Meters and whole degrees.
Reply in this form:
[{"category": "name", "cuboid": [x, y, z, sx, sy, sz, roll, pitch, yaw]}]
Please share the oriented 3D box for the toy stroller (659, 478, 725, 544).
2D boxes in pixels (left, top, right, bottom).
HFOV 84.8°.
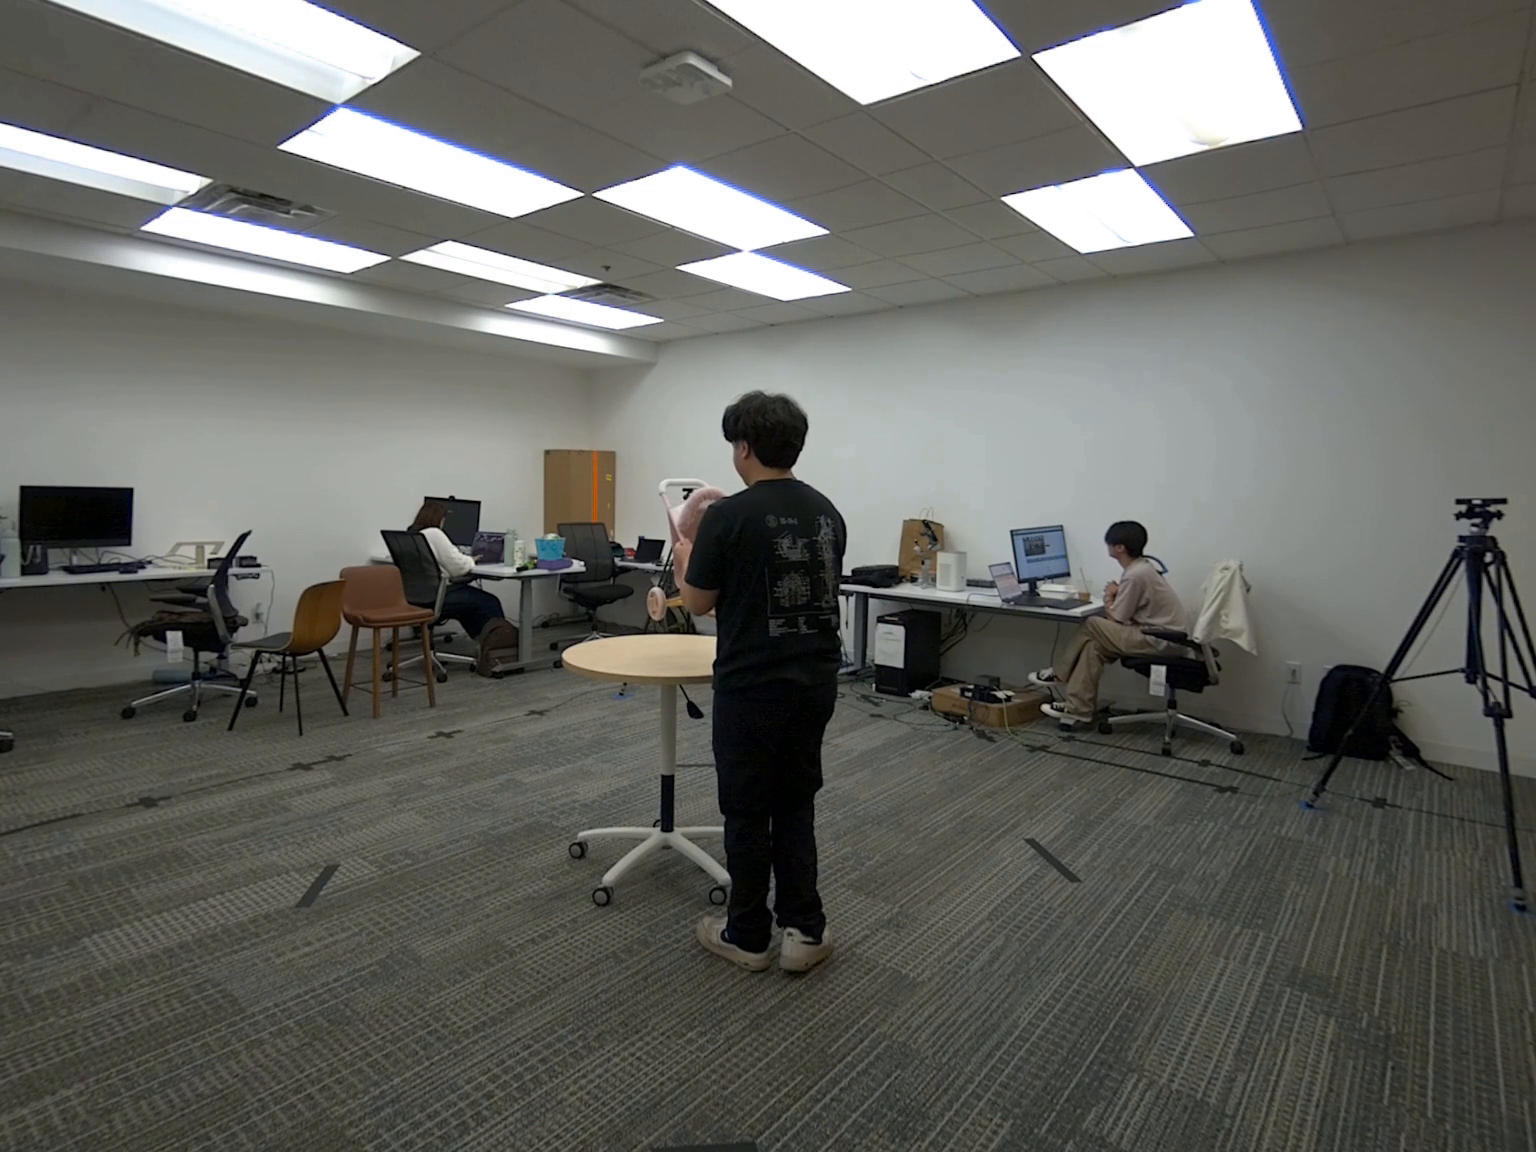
[{"category": "toy stroller", "cuboid": [-0.219, -0.062, 2.831, 0.274, 0.534, 0.351, -1, 3, -30]}]
